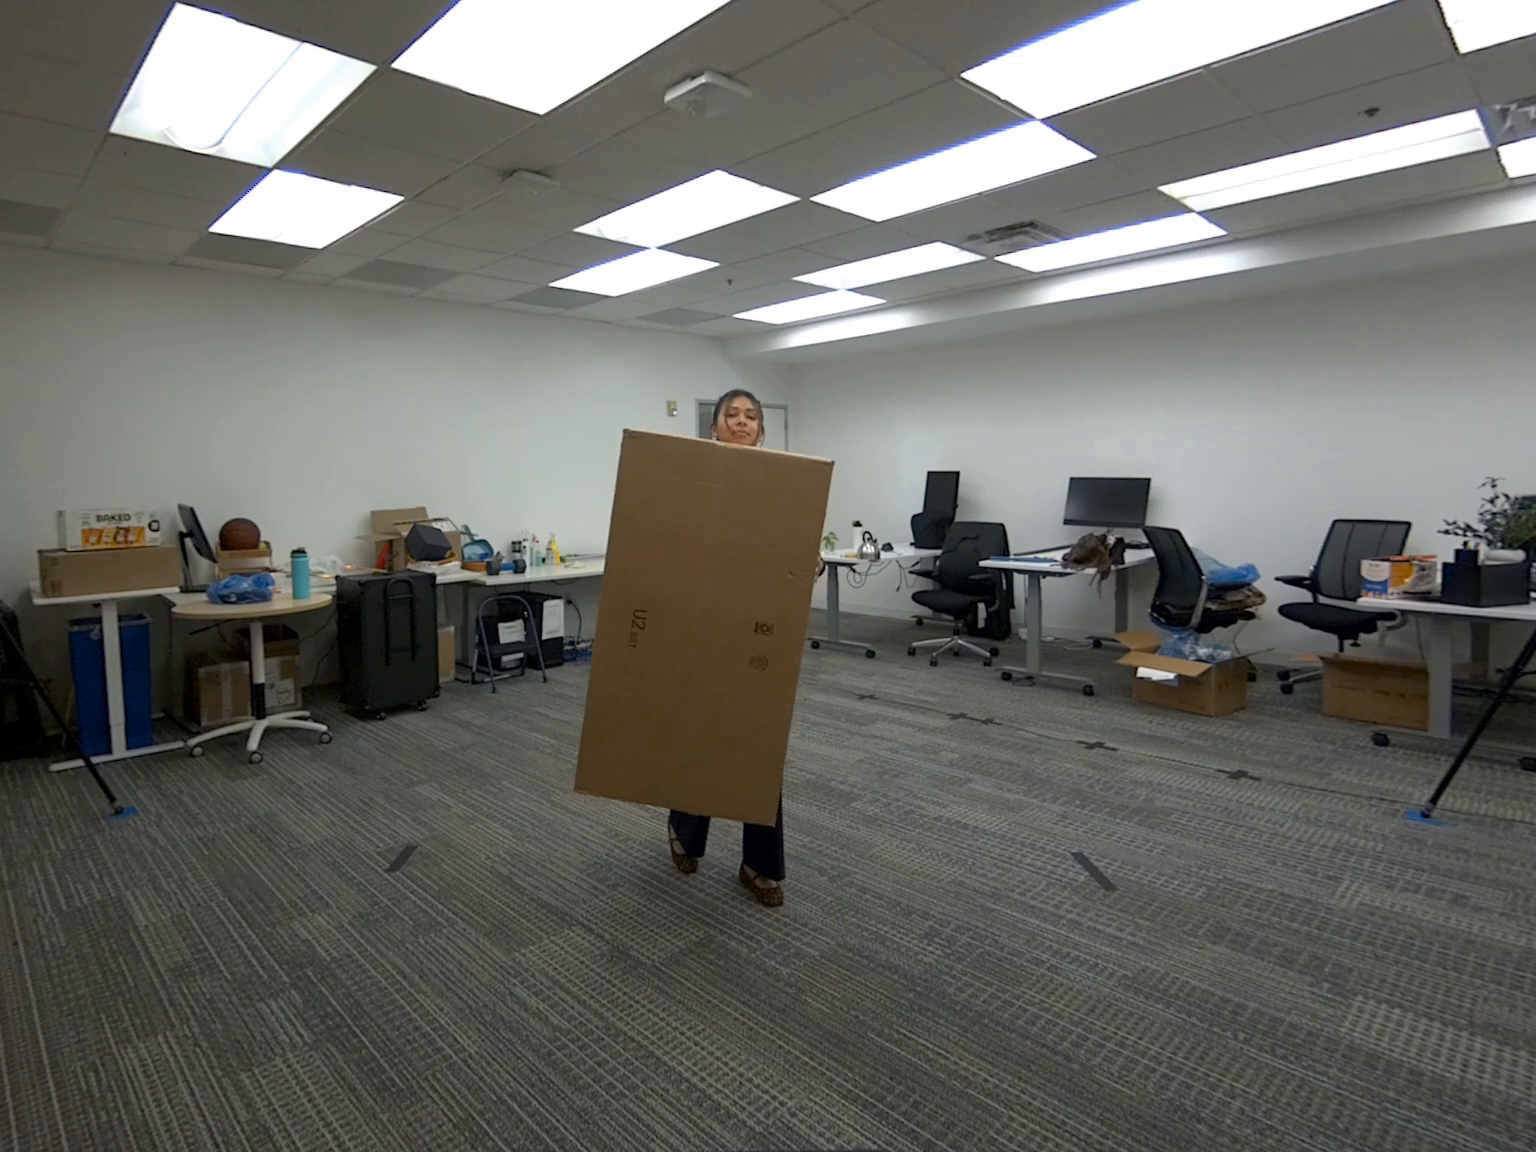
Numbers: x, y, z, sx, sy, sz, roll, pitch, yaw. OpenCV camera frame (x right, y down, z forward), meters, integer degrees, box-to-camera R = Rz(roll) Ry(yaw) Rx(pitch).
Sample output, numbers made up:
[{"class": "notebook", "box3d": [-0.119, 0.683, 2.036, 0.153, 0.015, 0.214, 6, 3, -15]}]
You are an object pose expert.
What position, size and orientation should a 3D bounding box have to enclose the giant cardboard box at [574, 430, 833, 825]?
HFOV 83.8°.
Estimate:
[{"class": "giant cardboard box", "box3d": [-0.185, 0.128, 2.526, 0.578, 1.021, 0.428, 9, 7, -1]}]
